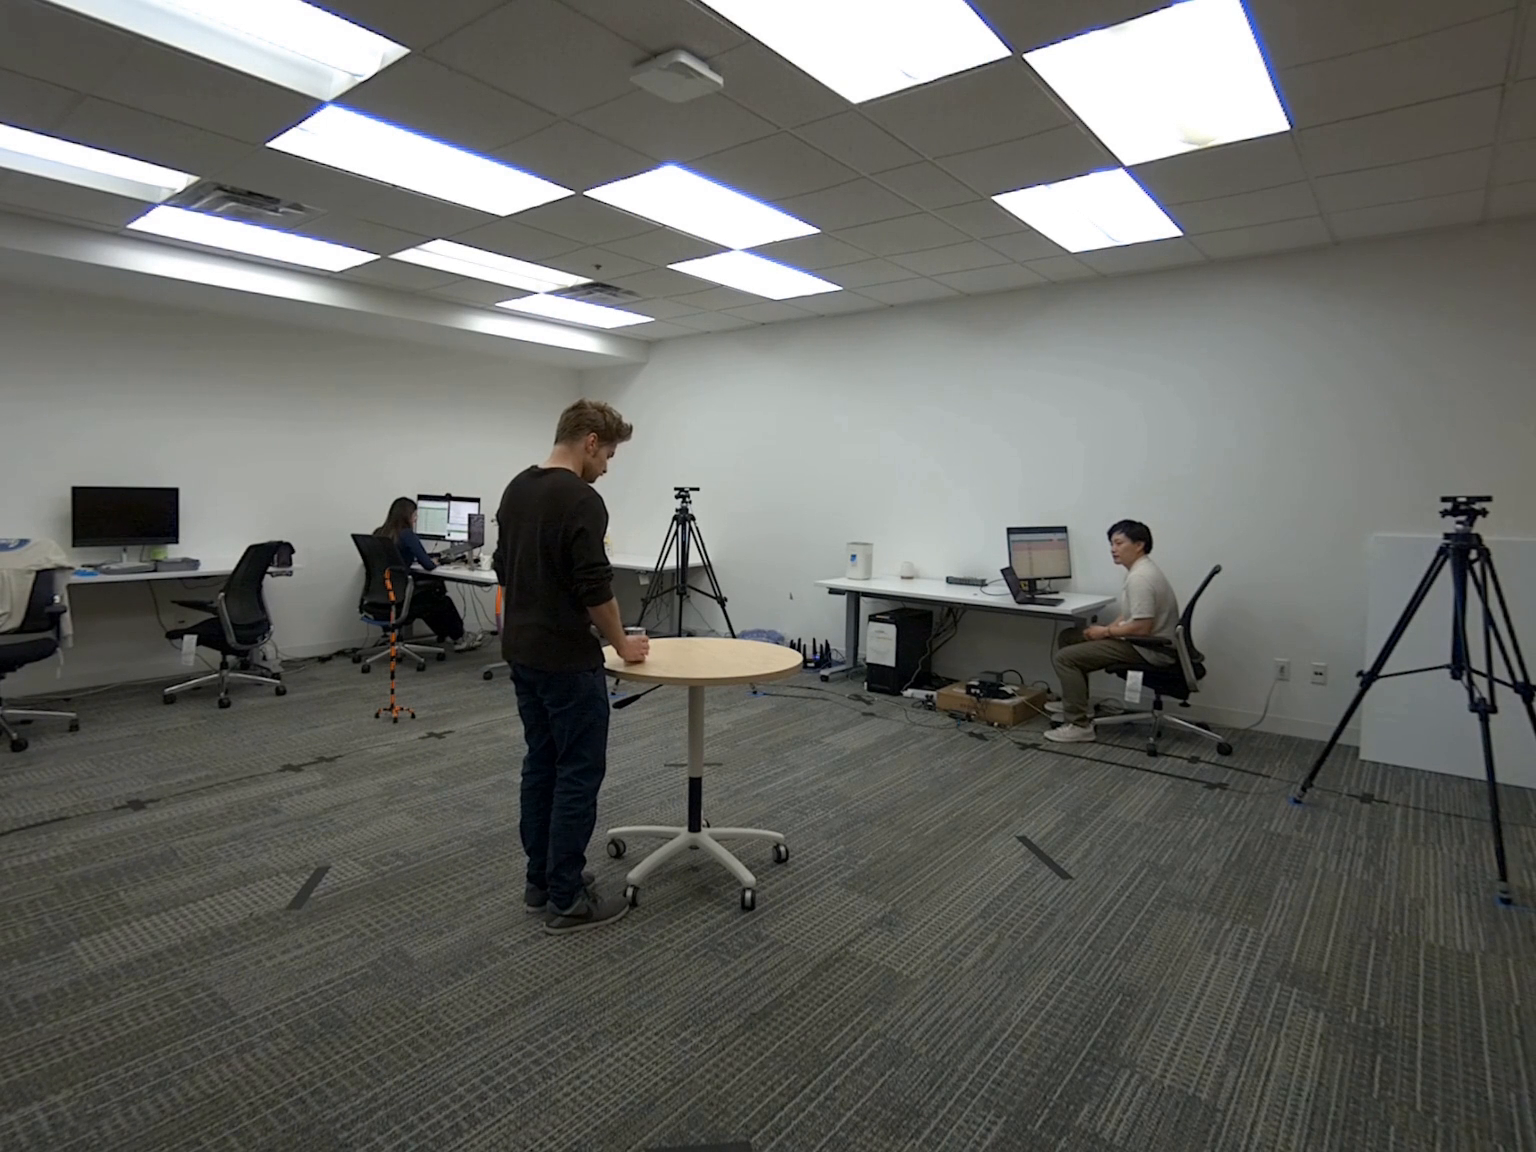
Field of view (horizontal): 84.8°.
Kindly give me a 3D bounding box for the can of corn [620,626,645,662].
[{"bbox_3d":[-0.477,0.237,2.955,0.074,0.111,0.074,2,4,-2],"label":"can of corn"}]
